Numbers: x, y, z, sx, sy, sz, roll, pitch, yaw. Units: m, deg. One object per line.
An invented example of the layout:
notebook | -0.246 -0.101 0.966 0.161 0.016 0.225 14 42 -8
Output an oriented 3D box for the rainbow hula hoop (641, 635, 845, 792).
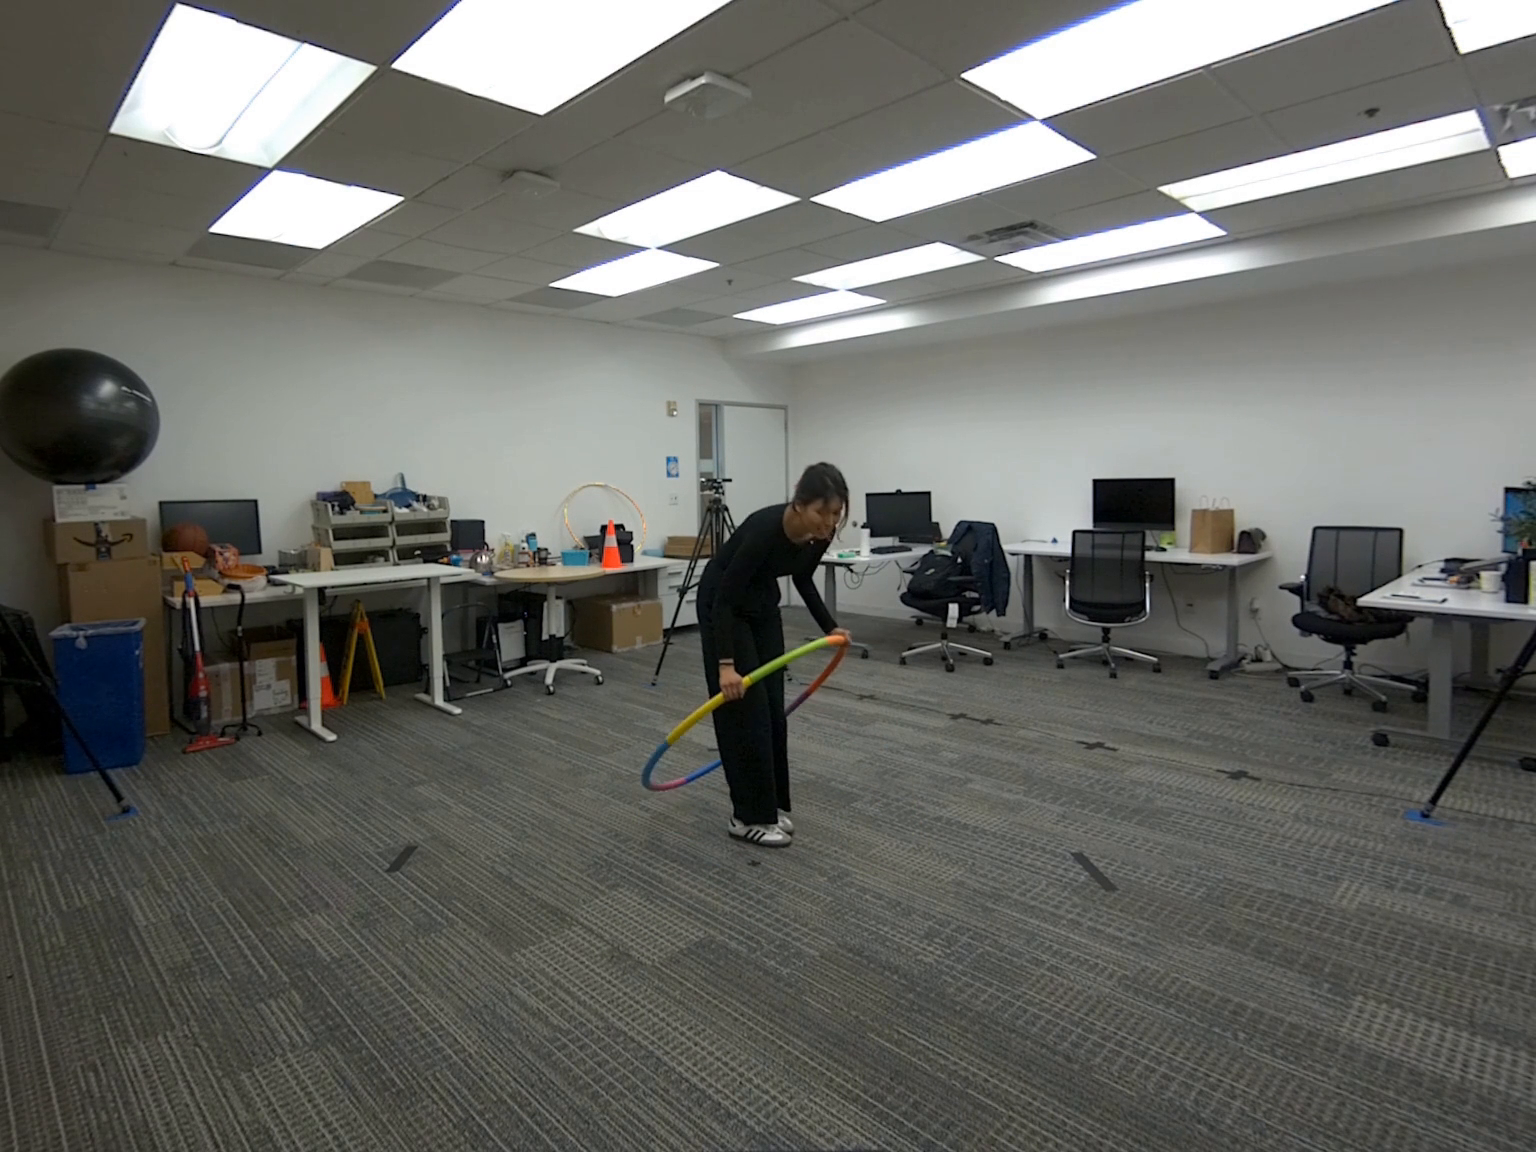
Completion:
rainbow hula hoop | -0.080 0.560 3.428 0.973 0.036 0.958 -31 -20 -16
